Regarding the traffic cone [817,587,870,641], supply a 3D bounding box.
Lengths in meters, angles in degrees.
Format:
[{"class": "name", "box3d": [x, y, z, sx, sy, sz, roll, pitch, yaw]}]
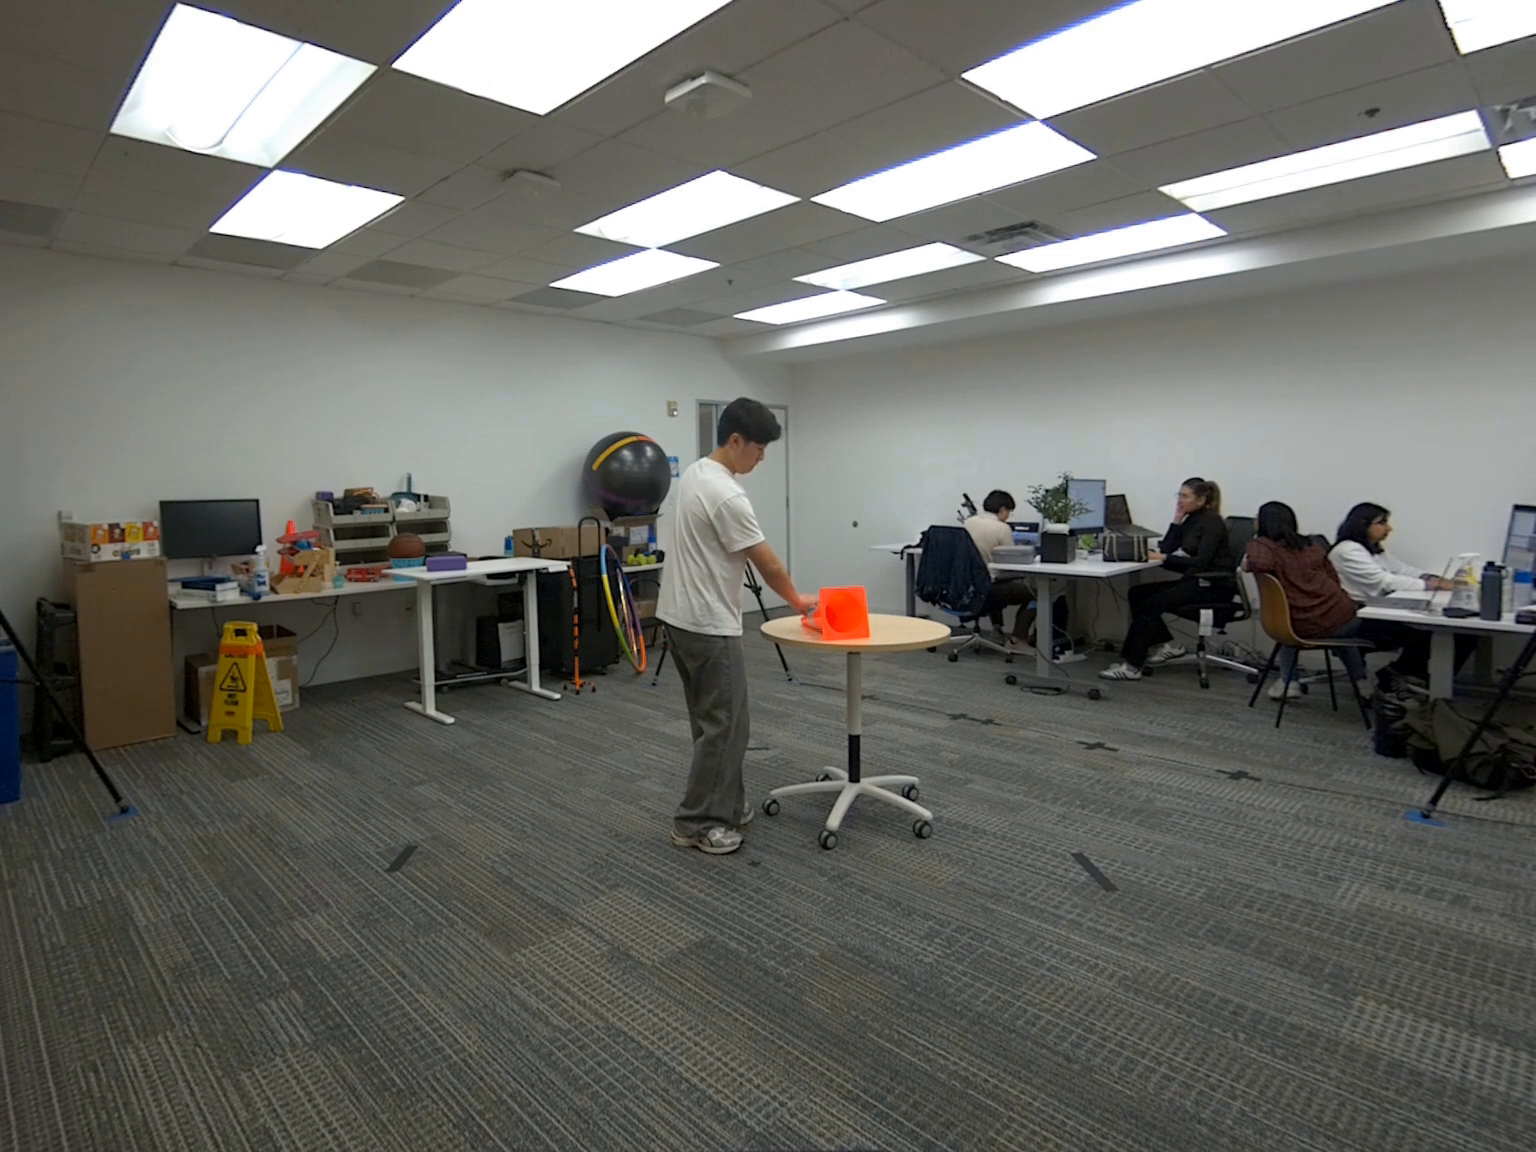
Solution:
[{"class": "traffic cone", "box3d": [0.216, 0.165, 3.415, 0.199, 0.207, 0.388, -2, -8, -22]}]
